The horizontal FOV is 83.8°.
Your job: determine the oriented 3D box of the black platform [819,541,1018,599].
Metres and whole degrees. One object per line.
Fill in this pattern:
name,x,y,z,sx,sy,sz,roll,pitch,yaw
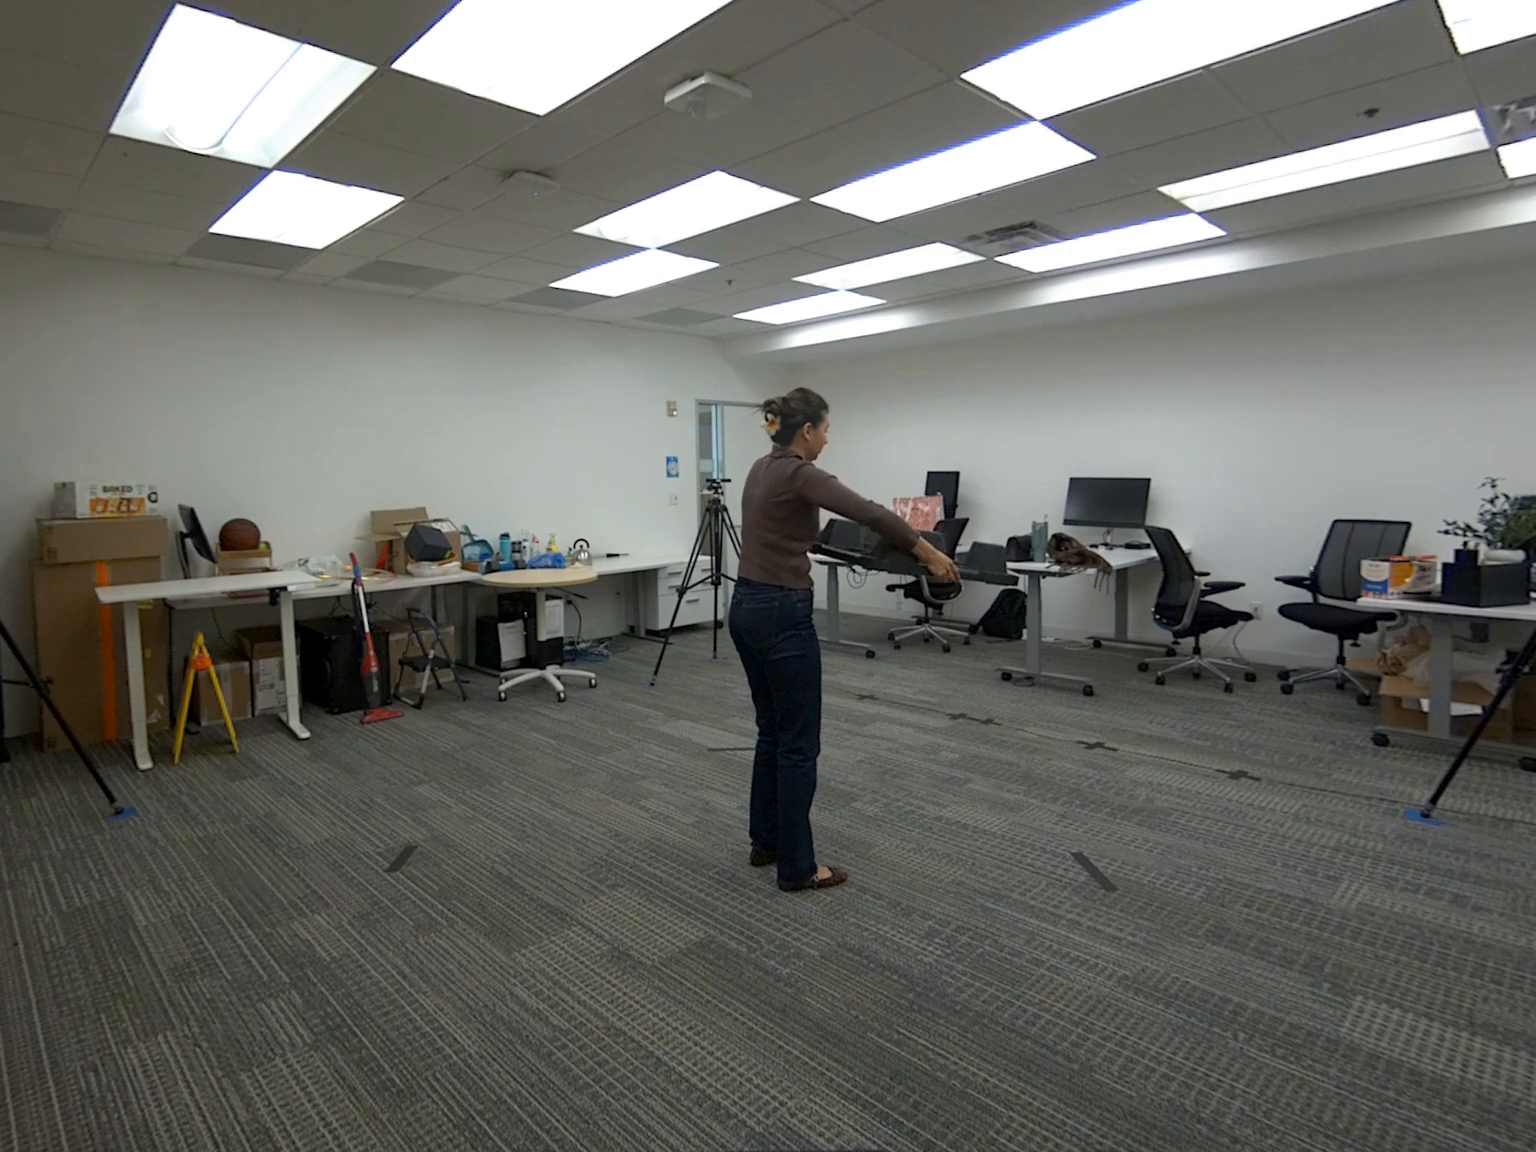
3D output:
black platform,0.431,-0.117,3.150,0.591,0.143,0.828,5,7,-26
